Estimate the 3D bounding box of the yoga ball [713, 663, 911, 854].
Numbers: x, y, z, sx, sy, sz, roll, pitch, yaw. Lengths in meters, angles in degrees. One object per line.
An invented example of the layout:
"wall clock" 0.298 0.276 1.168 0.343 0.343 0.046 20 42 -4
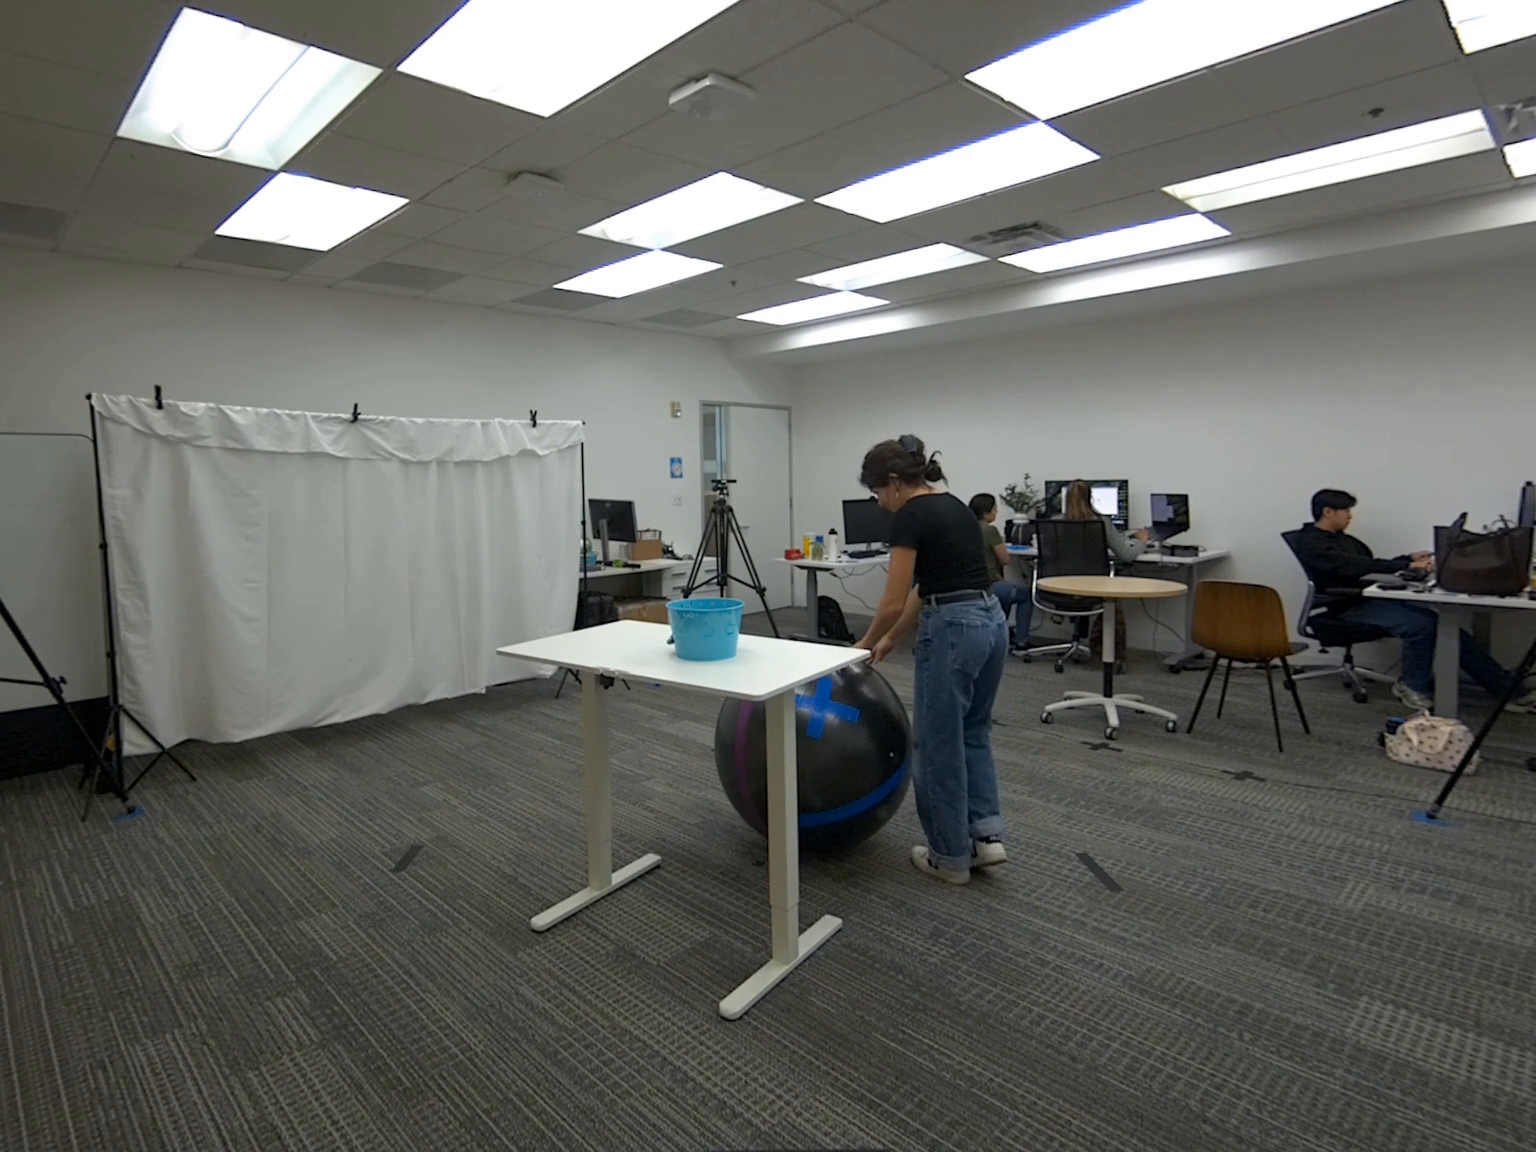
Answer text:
"yoga ball" 0.169 0.659 3.265 0.757 0.755 0.762 -1 5 -2
